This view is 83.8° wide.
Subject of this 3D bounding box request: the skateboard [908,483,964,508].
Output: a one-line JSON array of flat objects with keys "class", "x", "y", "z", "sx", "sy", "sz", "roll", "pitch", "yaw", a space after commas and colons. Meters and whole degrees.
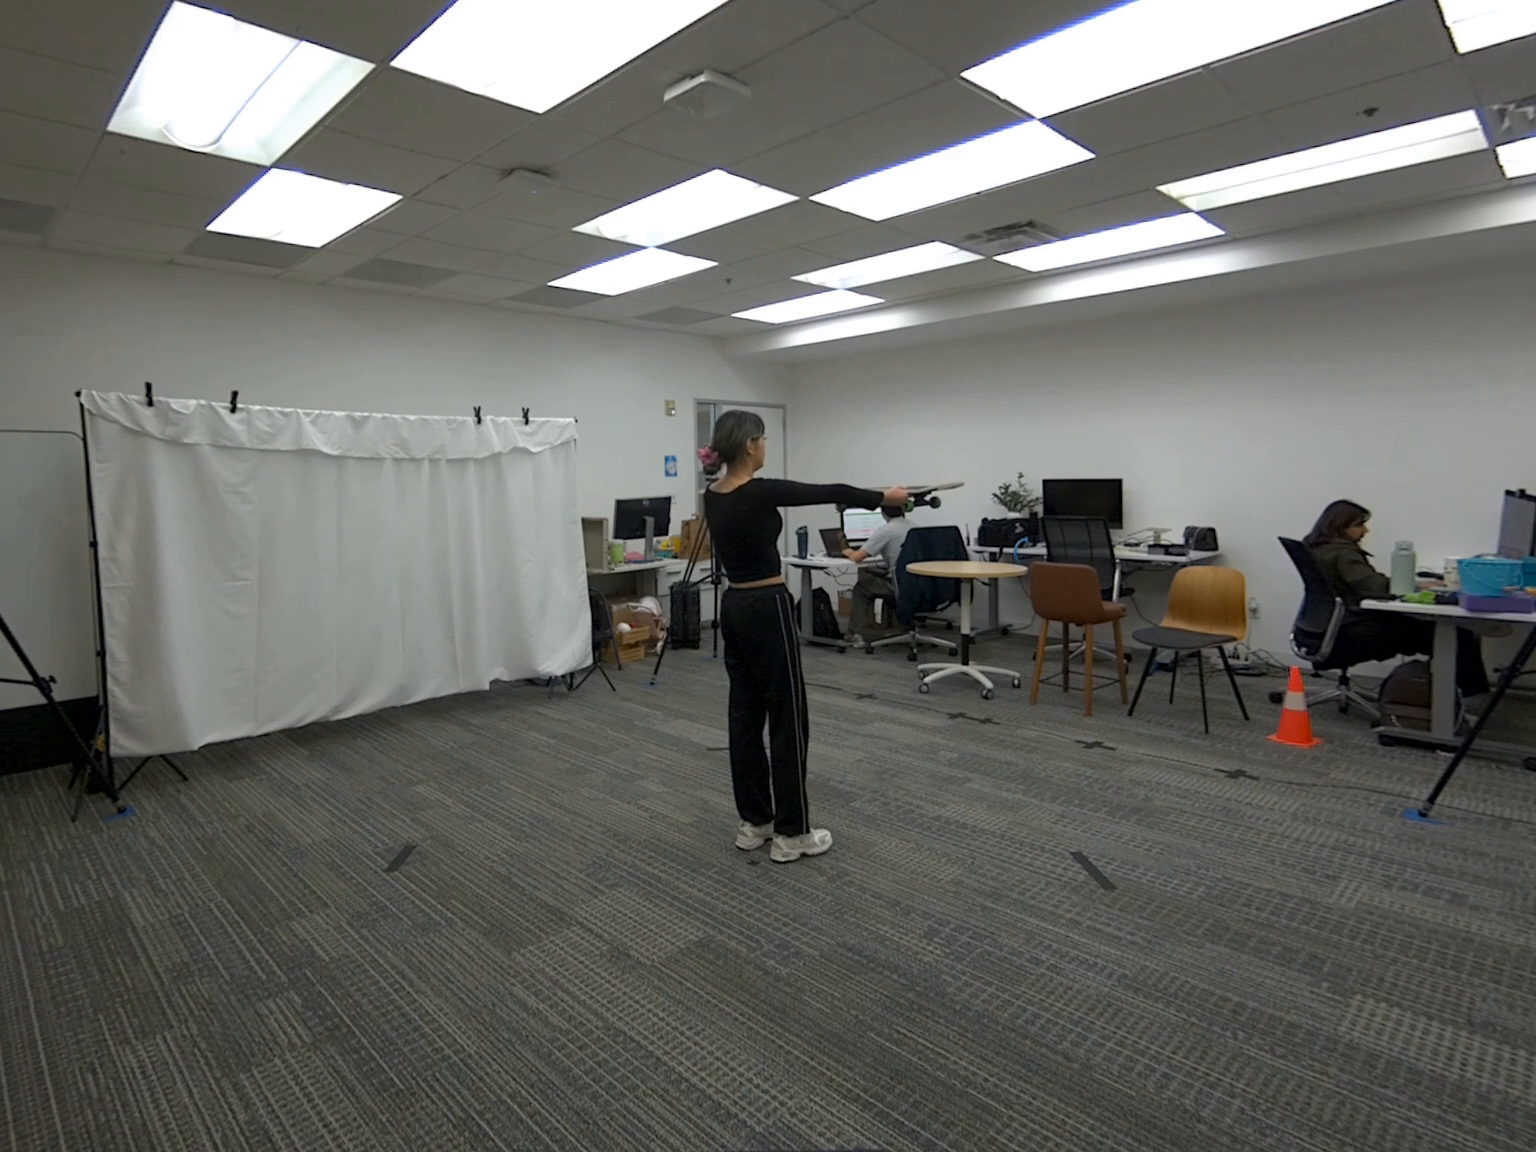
[{"class": "skateboard", "x": 0.487, "y": -0.330, "z": 3.560, "sx": 0.189, "sy": 0.110, "sz": 0.808, "roll": -8, "pitch": 8, "yaw": -34}]
